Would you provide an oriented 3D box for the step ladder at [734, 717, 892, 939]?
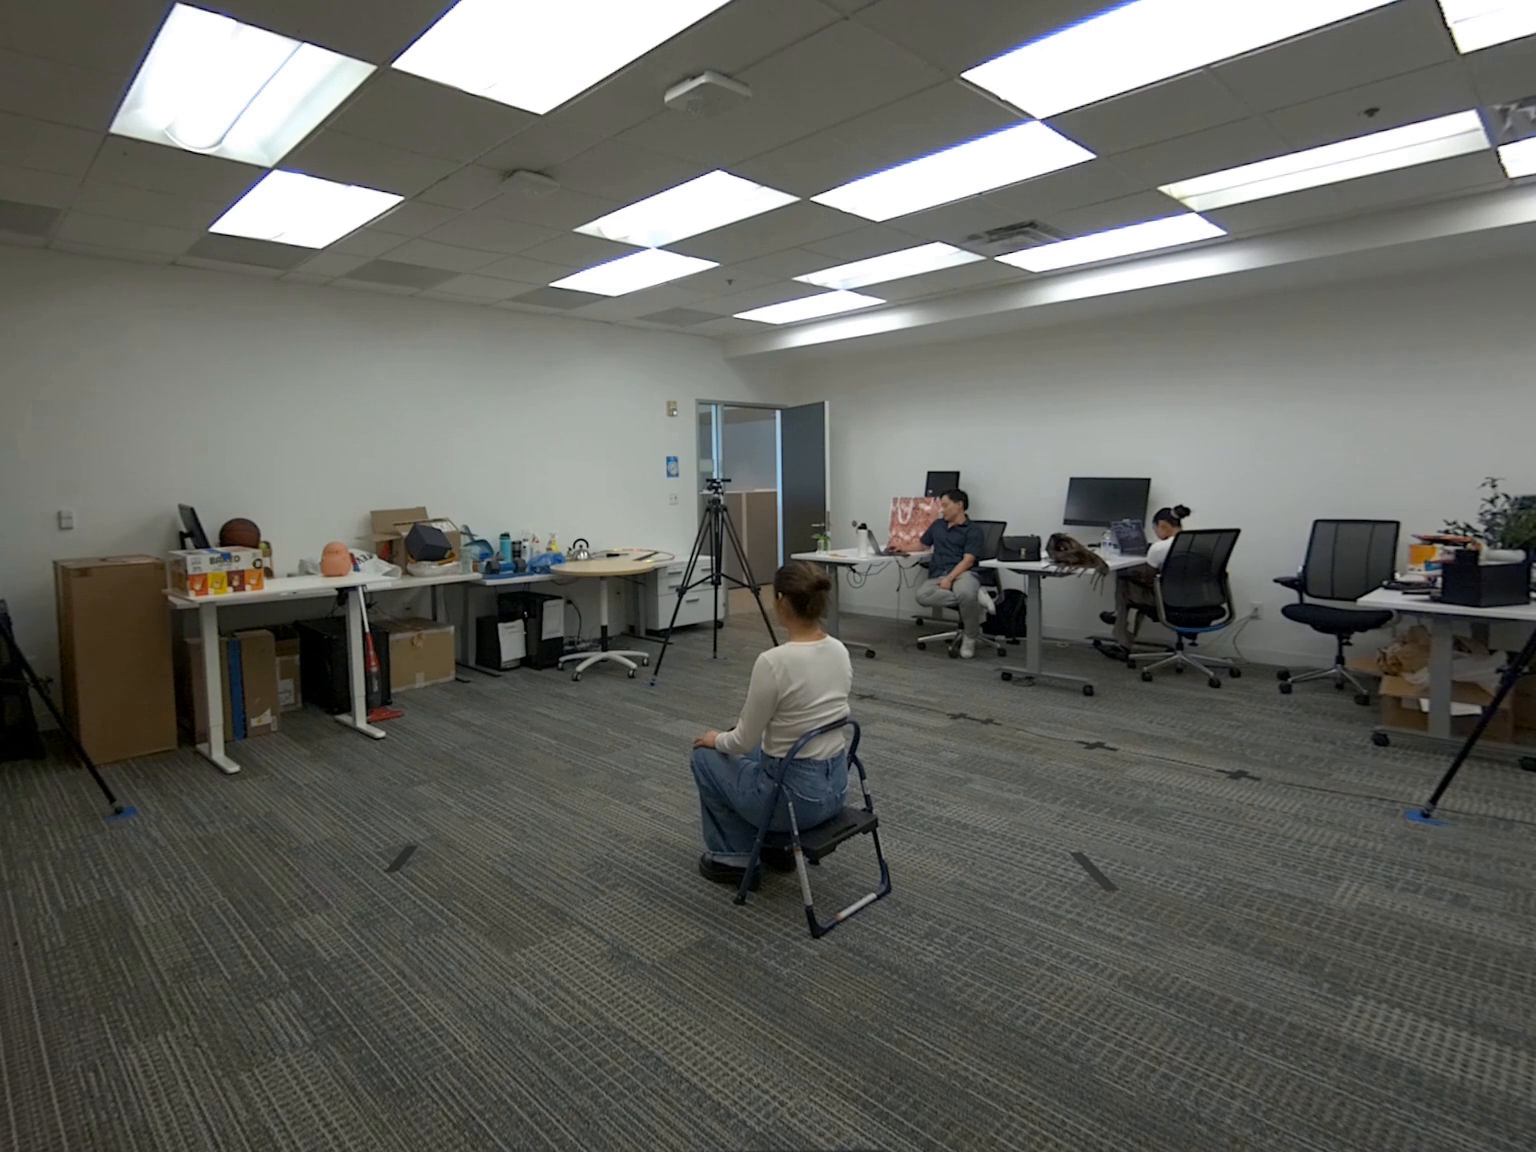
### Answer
[{"bbox_3d":[0.154,0.767,2.827,0.360,0.604,0.419,3,6,42],"label":"step ladder"}]
